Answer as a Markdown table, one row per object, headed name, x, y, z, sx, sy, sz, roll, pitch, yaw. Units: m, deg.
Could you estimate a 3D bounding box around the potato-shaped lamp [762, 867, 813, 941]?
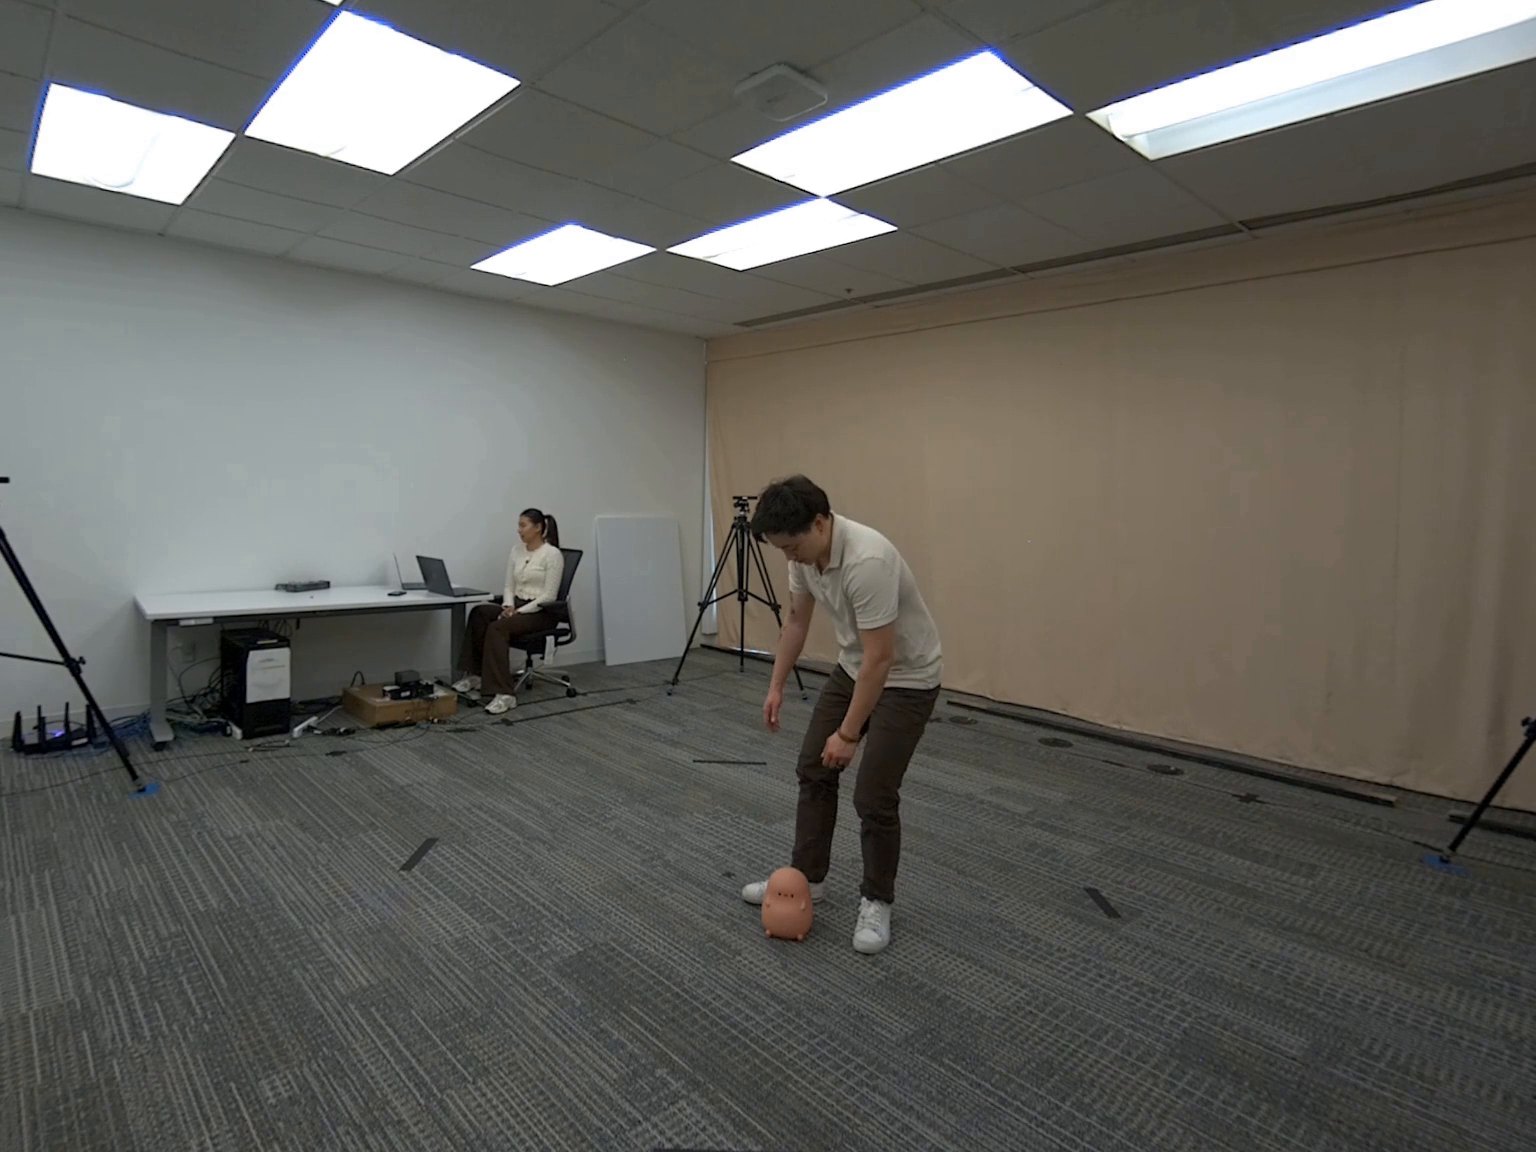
| name | x | y | z | sx | sy | sz | roll | pitch | yaw |
| --- | --- | --- | --- | --- | --- | --- | --- | --- | --- |
| potato-shaped lamp | 0.063 | 1.046 | 2.697 | 0.166 | 0.198 | 0.169 | 5 | 1 | 12 |
